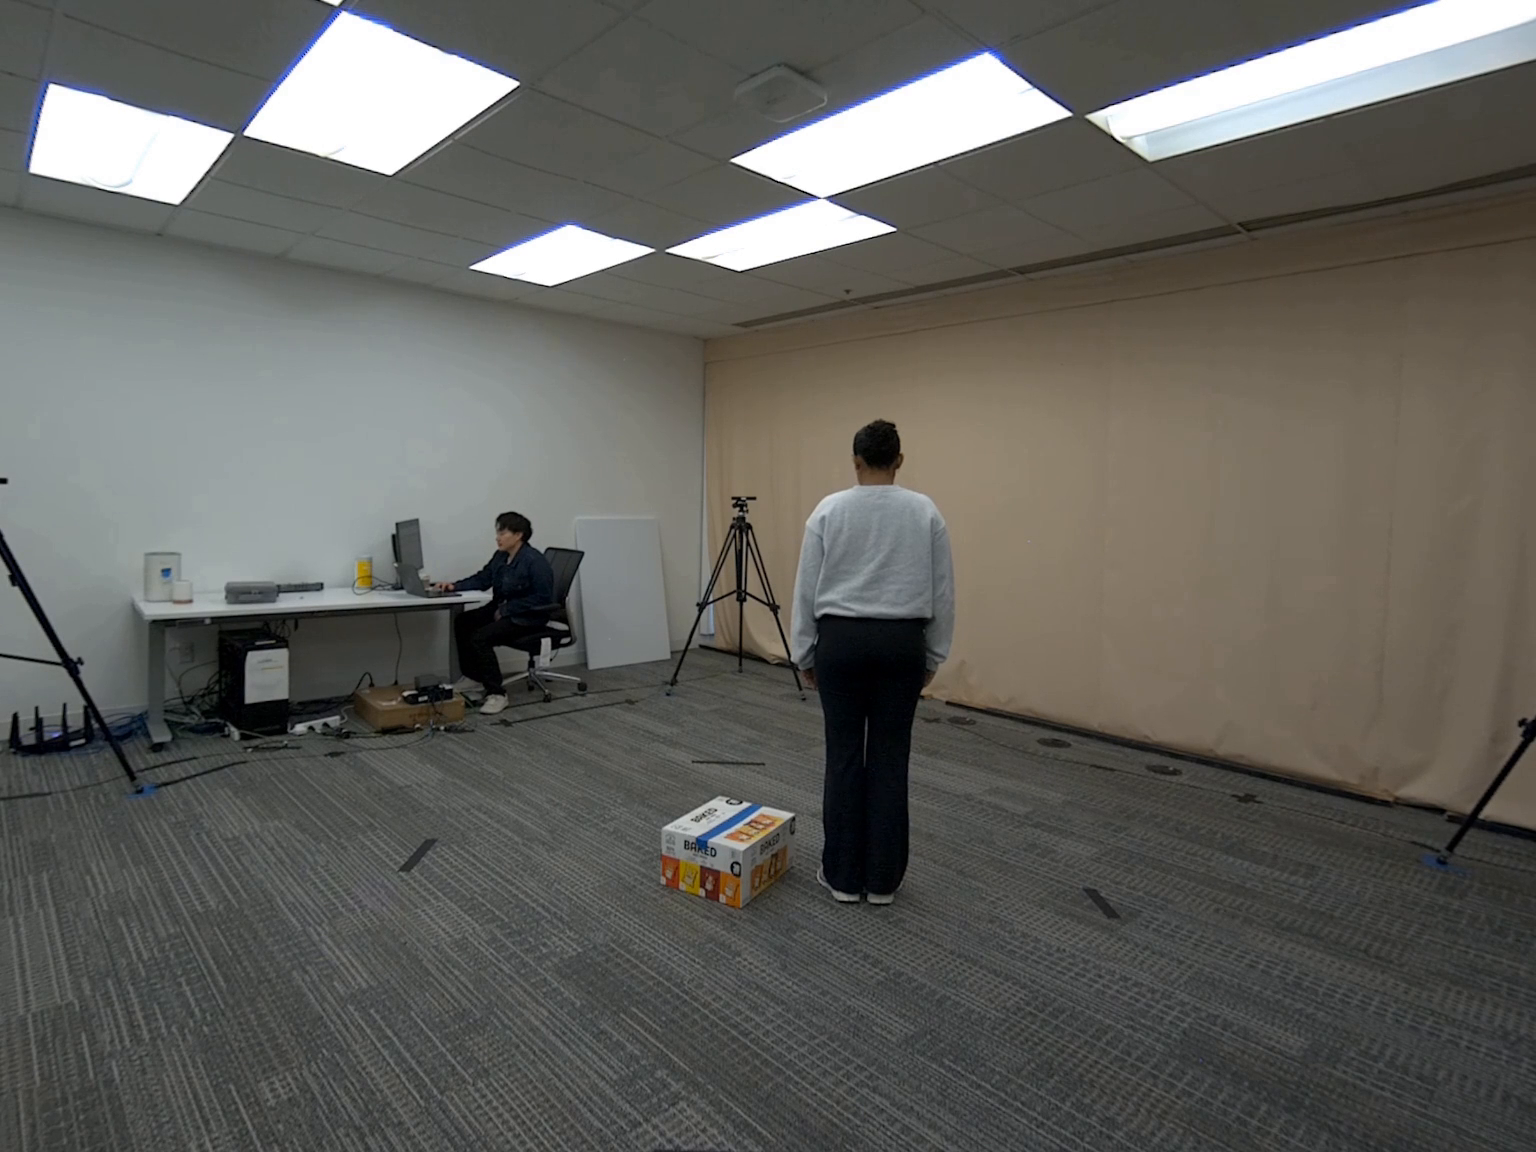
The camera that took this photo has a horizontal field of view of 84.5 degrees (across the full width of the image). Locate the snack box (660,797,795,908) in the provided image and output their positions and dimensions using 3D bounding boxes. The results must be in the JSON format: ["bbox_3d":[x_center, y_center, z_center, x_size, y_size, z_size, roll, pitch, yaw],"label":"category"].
[{"bbox_3d":[-0.149,1.006,3.104,0.348,0.205,0.397,4,6,30],"label":"snack box"}]
